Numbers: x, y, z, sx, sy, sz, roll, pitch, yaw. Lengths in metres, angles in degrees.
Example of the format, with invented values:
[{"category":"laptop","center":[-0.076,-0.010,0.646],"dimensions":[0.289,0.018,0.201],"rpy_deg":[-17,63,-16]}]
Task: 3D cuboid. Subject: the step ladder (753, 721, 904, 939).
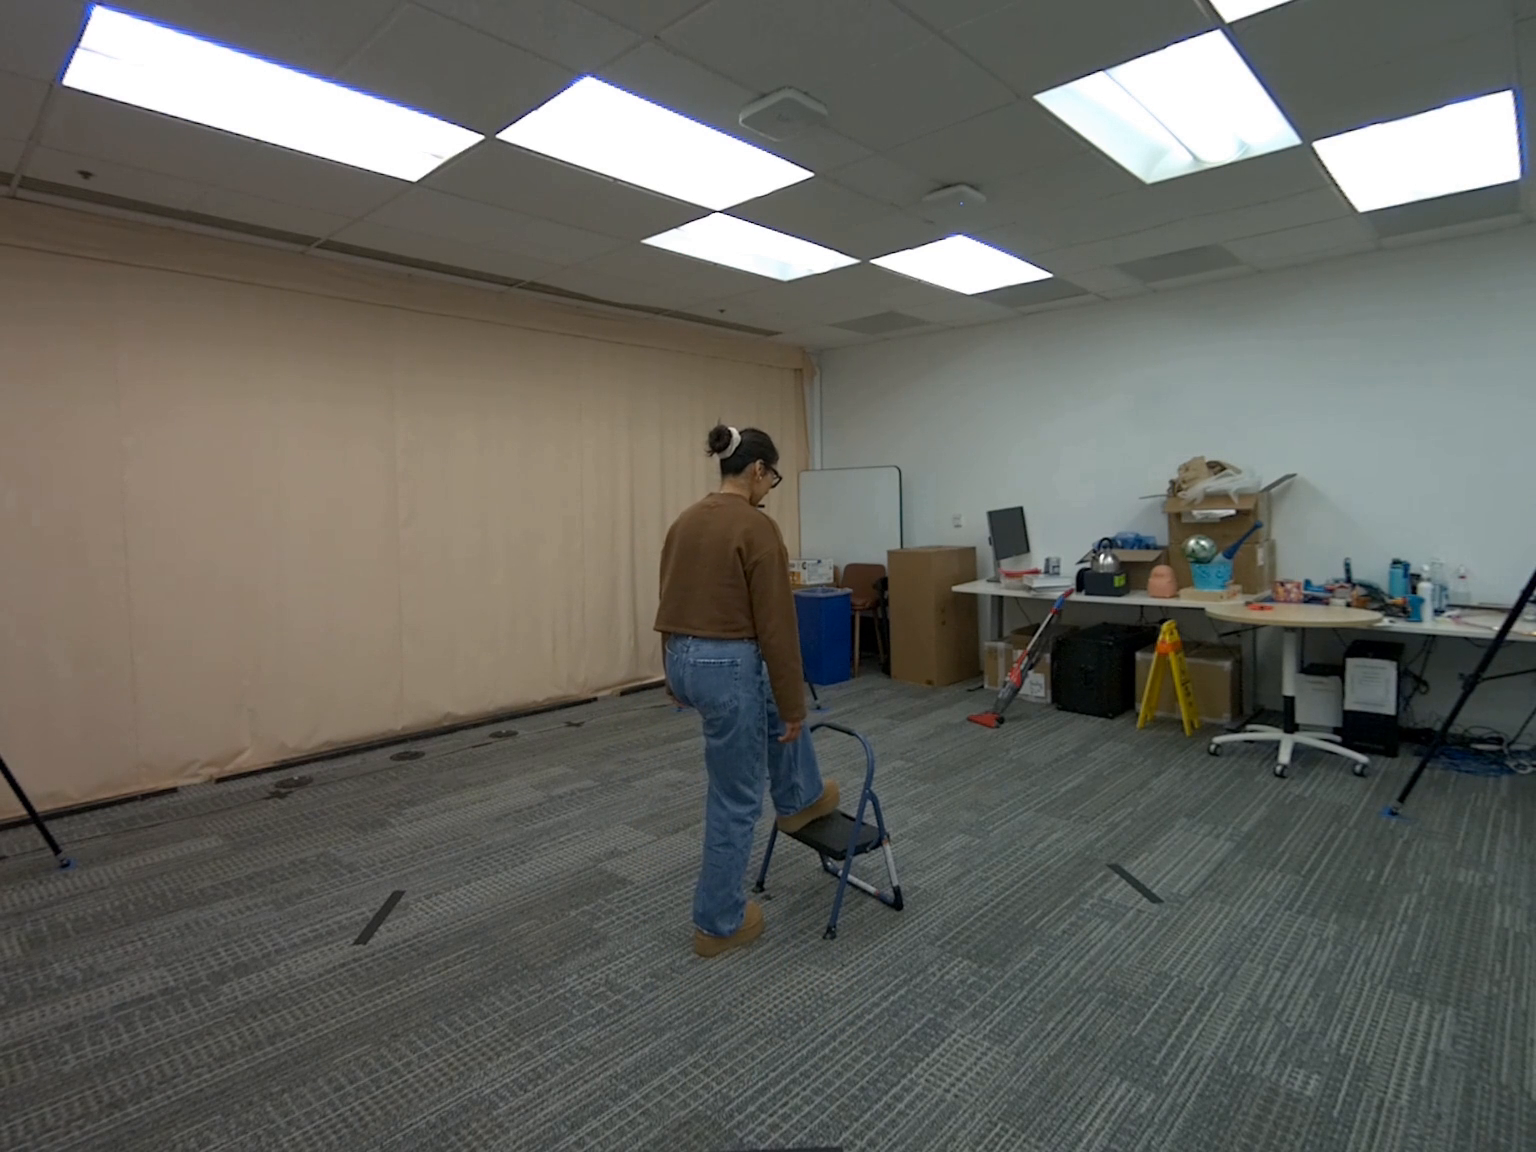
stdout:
[{"category":"step ladder","center":[0.208,0.835,2.940],"dimensions":[0.339,0.605,0.444],"rpy_deg":[-3,3,-35]}]
